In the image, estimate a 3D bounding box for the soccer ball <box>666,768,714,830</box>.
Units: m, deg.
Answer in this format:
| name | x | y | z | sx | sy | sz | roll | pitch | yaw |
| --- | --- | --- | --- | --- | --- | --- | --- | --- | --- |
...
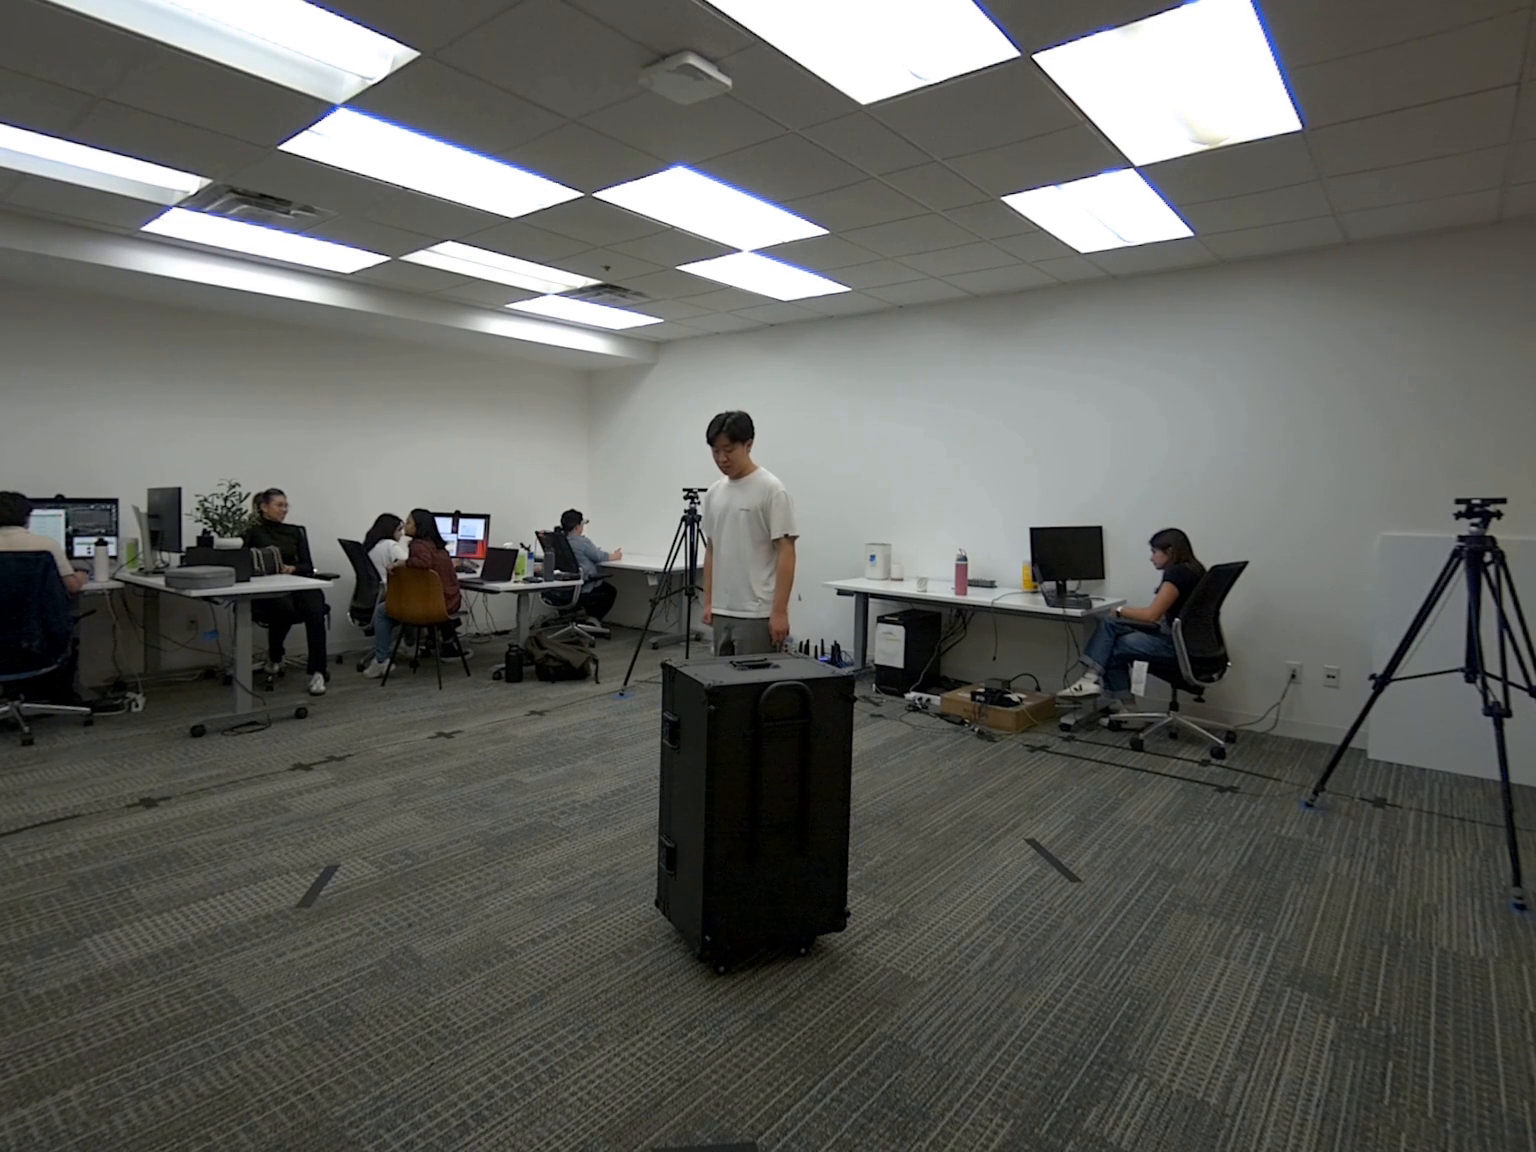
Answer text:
| name | x | y | z | sx | sy | sz | roll | pitch | yaw |
| --- | --- | --- | --- | --- | --- | --- | --- | --- | --- |
| soccer ball | -0.324 | 0.924 | 3.505 | 0.187 | 0.187 | 0.188 | 1 | 4 | -2 |
